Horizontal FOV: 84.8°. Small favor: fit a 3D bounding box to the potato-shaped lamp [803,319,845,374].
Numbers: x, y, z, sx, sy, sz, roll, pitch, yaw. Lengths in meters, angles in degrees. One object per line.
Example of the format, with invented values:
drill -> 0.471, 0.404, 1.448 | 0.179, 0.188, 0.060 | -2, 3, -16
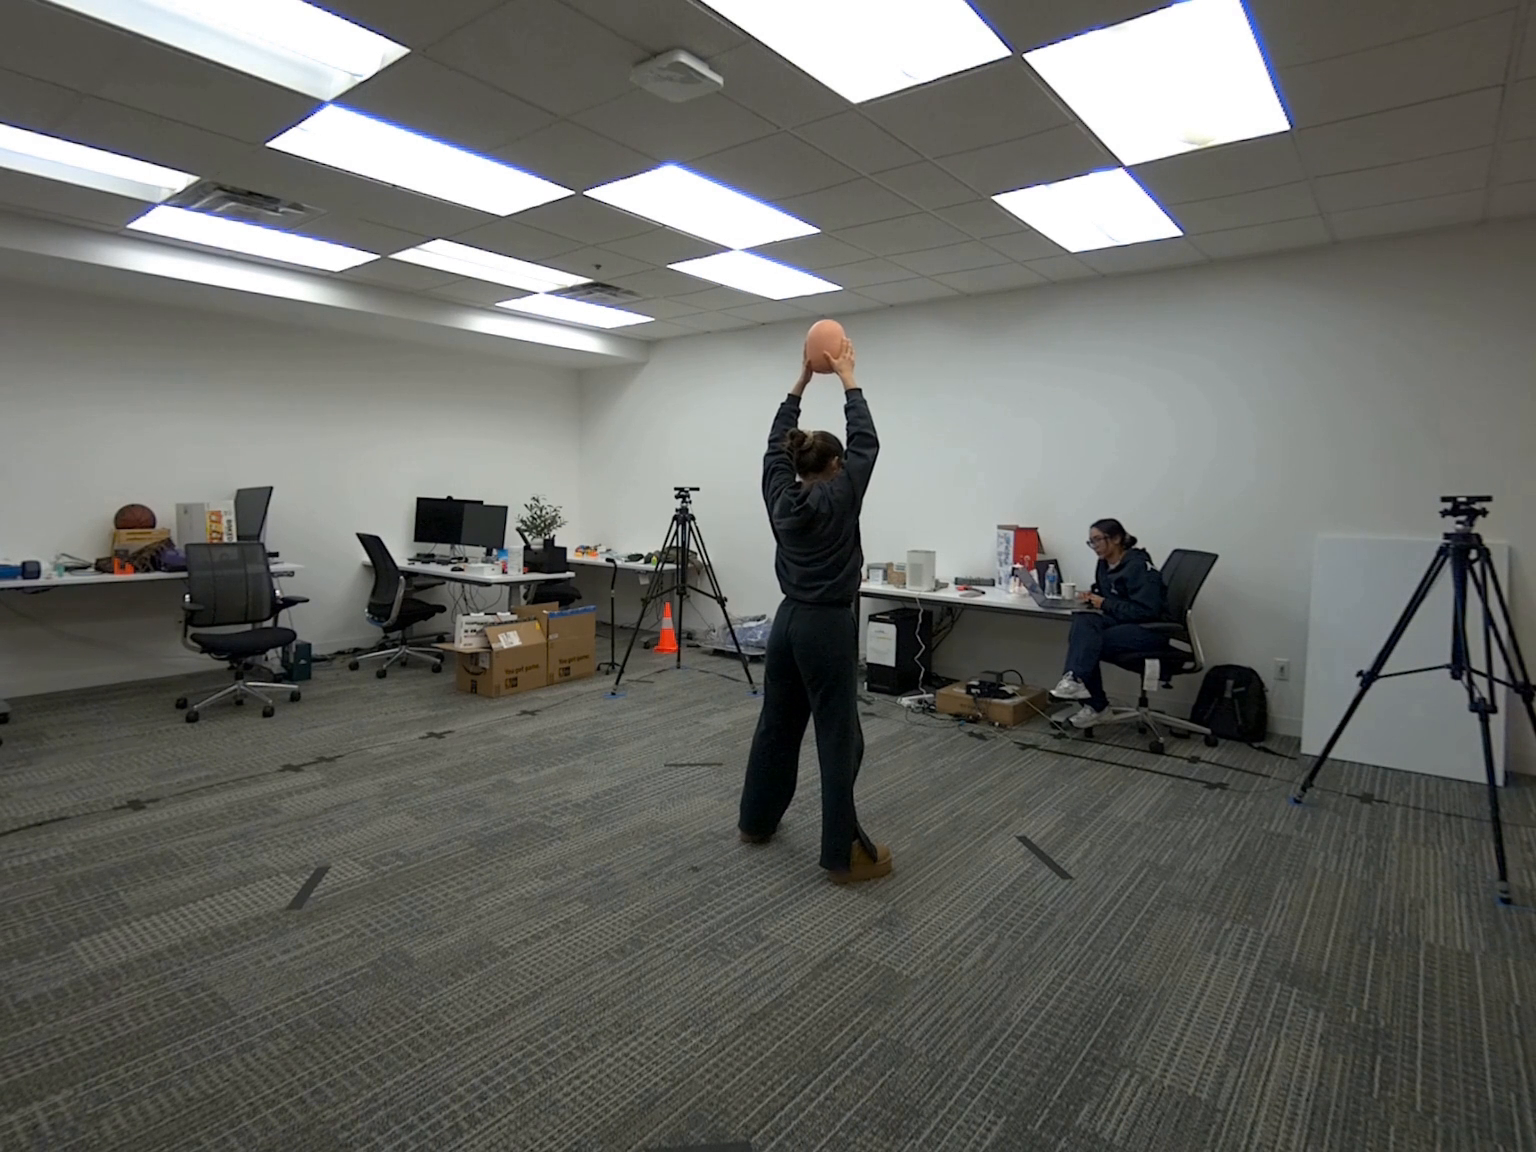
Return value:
potato-shaped lamp -> 0.223, -0.874, 3.213 | 0.167, 0.197, 0.170 | -11, 9, -40
